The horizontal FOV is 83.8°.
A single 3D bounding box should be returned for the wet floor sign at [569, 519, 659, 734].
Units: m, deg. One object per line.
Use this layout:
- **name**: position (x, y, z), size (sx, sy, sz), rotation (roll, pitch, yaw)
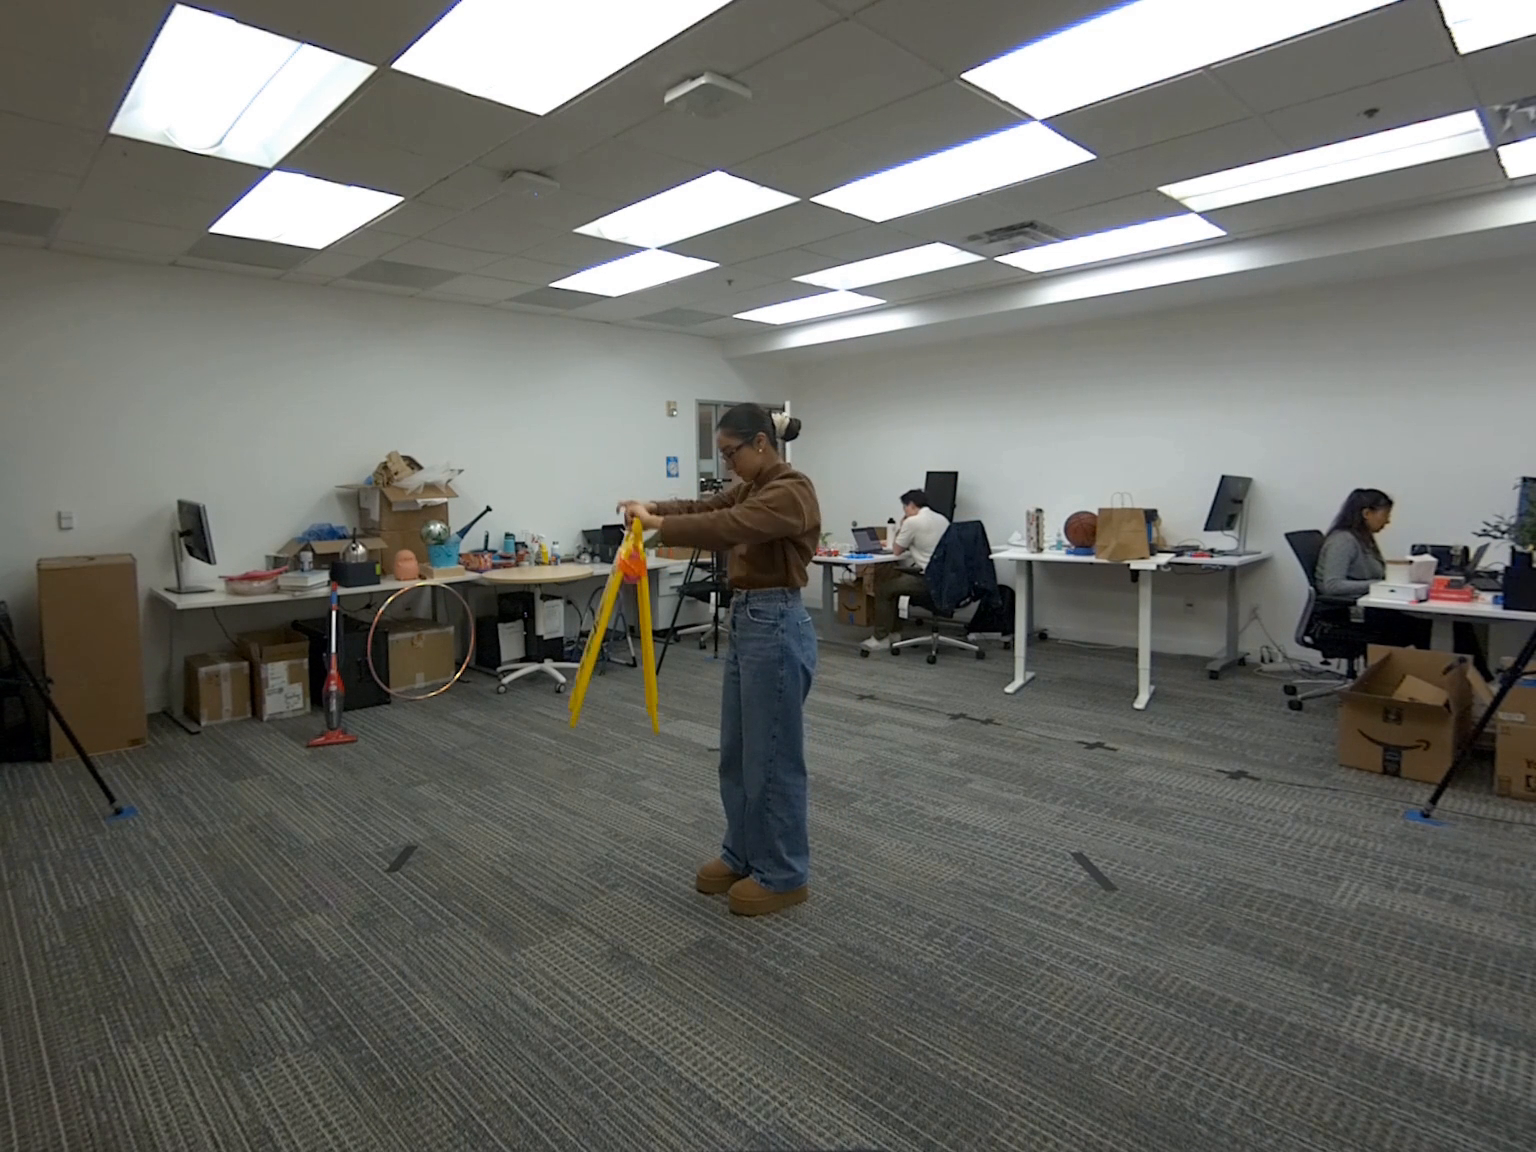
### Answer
- **wet floor sign**: position (-0.451, 0.131, 2.693), size (0.286, 0.645, 0.286), rotation (6, 3, -13)
